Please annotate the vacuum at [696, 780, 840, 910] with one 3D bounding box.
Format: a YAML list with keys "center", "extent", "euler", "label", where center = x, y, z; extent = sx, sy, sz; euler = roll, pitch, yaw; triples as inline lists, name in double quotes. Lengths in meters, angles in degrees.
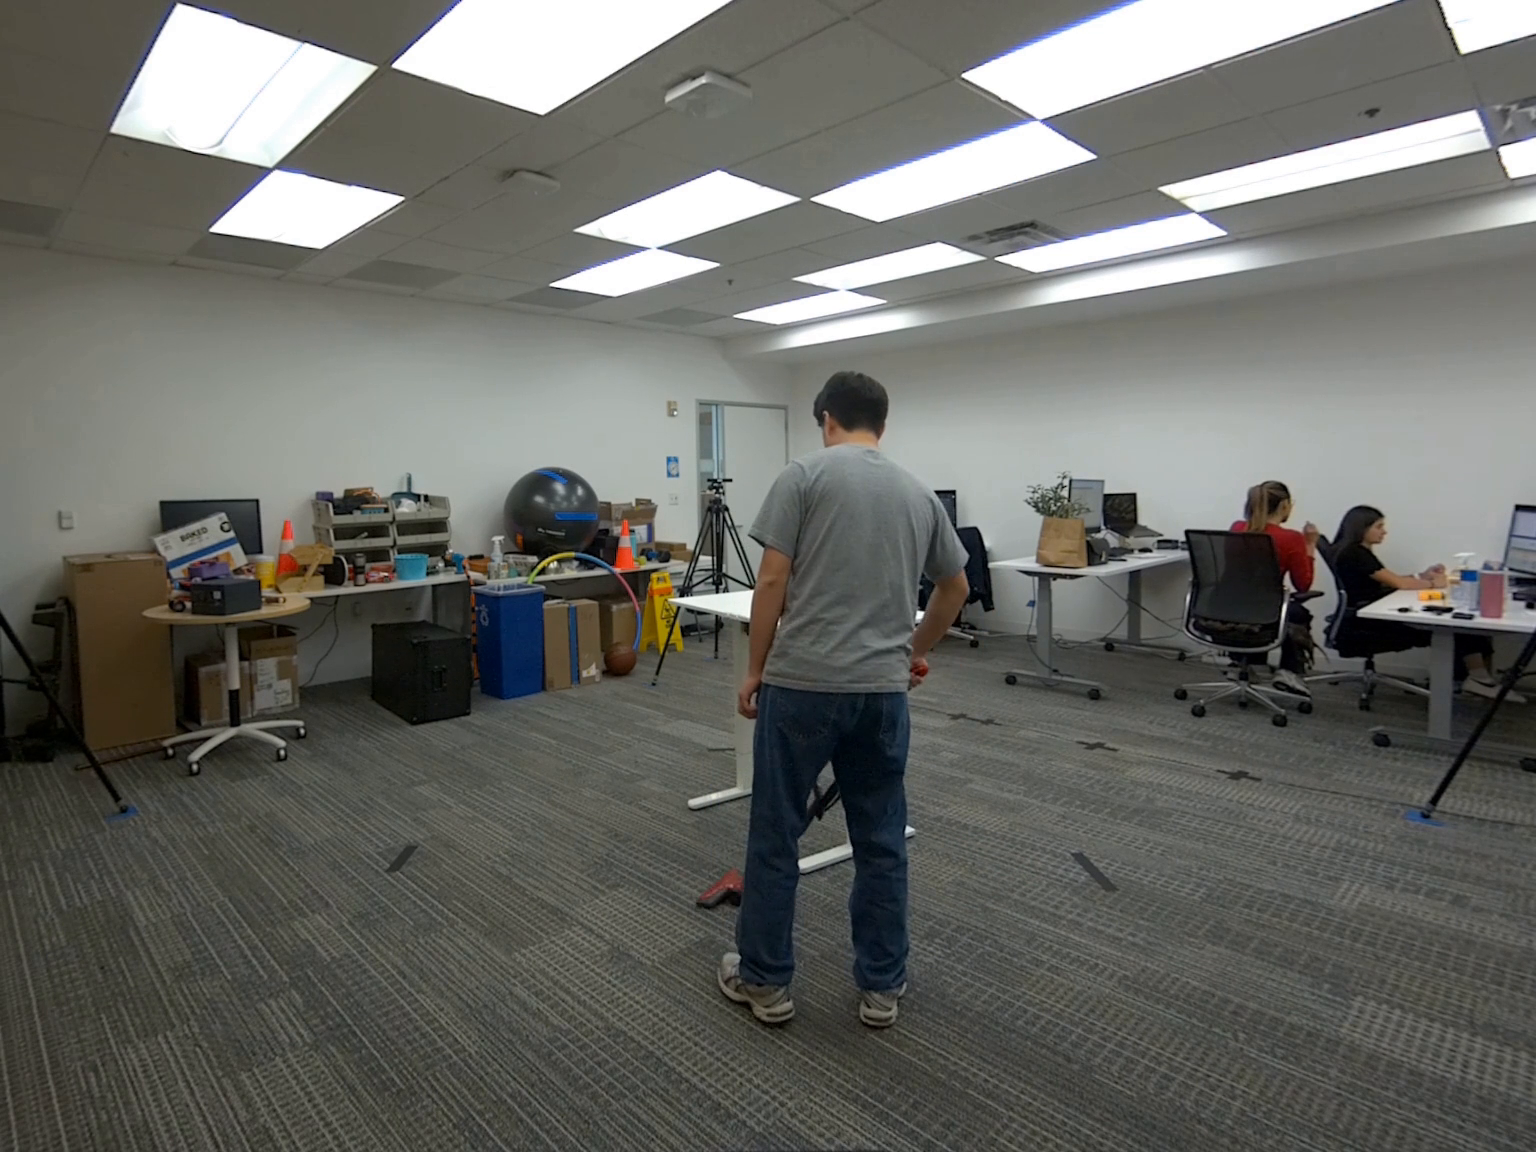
- center: [0.158, 0.680, 2.682]
  extent: [0.148, 1.045, 0.247]
  euler: [44, 25, 19]
  label: "vacuum"
